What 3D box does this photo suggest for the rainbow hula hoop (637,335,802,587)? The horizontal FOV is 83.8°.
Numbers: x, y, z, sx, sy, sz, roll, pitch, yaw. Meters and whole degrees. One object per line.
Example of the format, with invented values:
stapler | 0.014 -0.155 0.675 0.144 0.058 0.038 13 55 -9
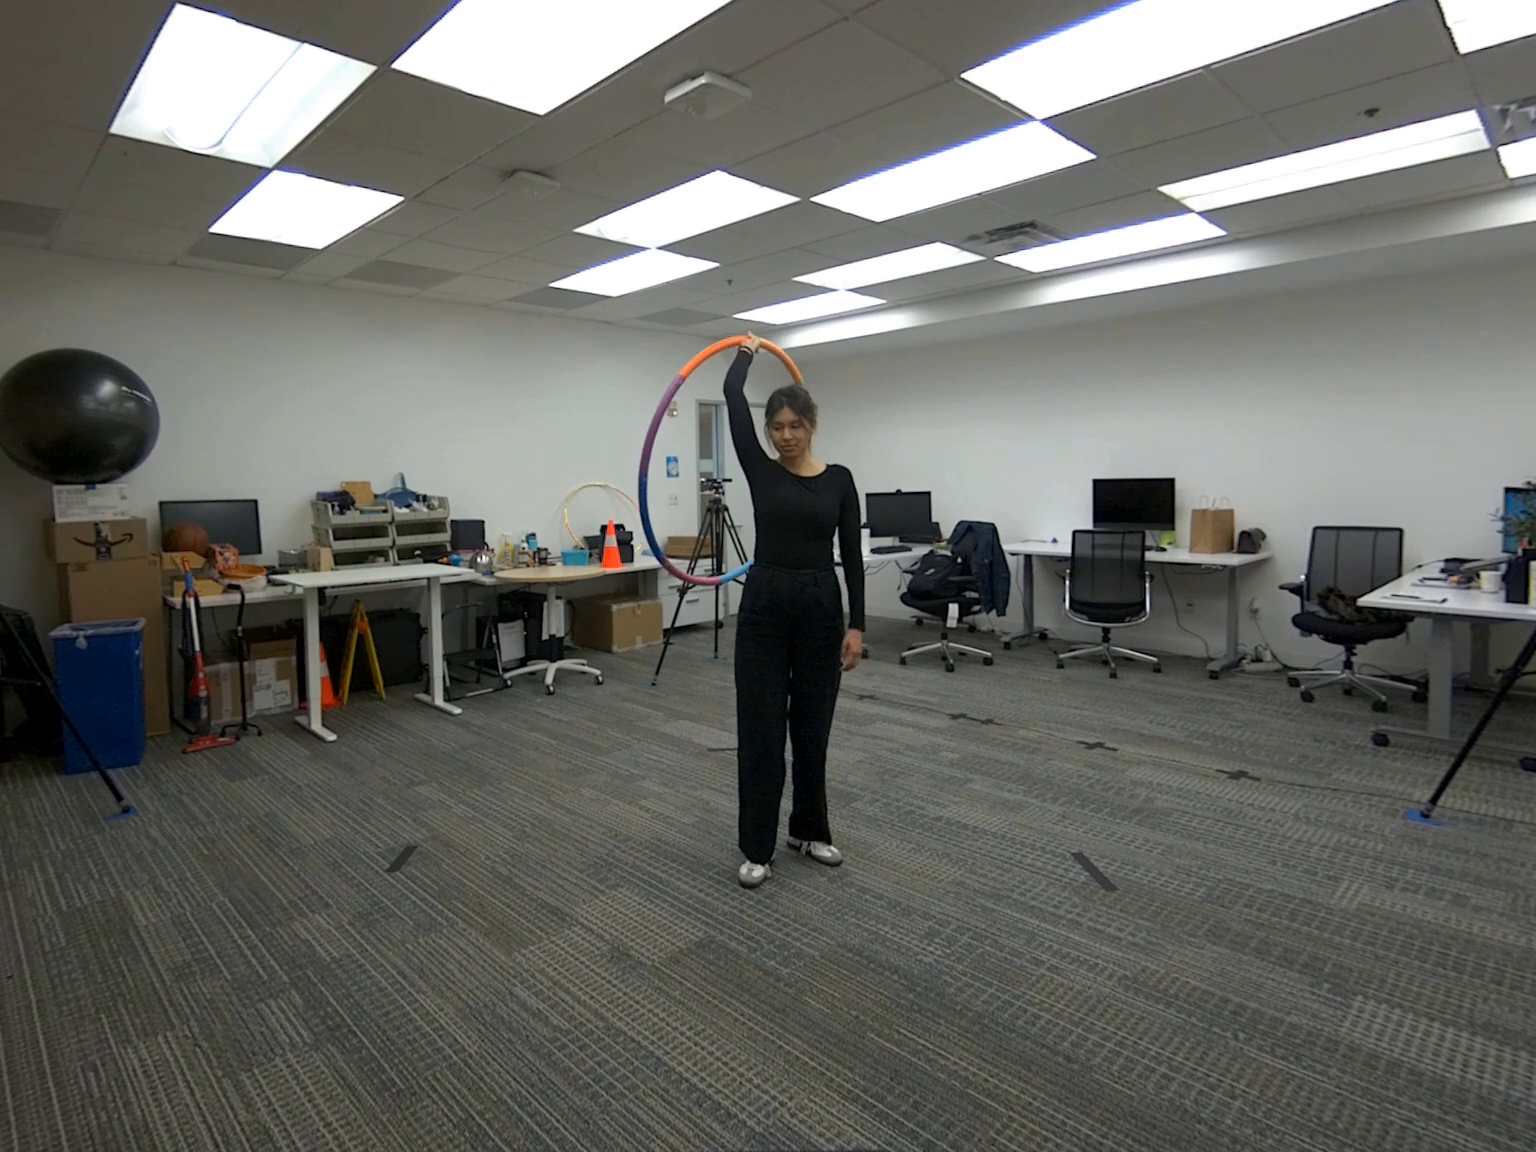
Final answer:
rainbow hula hoop | -0.131 -0.440 3.350 0.053 0.976 0.960 21 17 37
